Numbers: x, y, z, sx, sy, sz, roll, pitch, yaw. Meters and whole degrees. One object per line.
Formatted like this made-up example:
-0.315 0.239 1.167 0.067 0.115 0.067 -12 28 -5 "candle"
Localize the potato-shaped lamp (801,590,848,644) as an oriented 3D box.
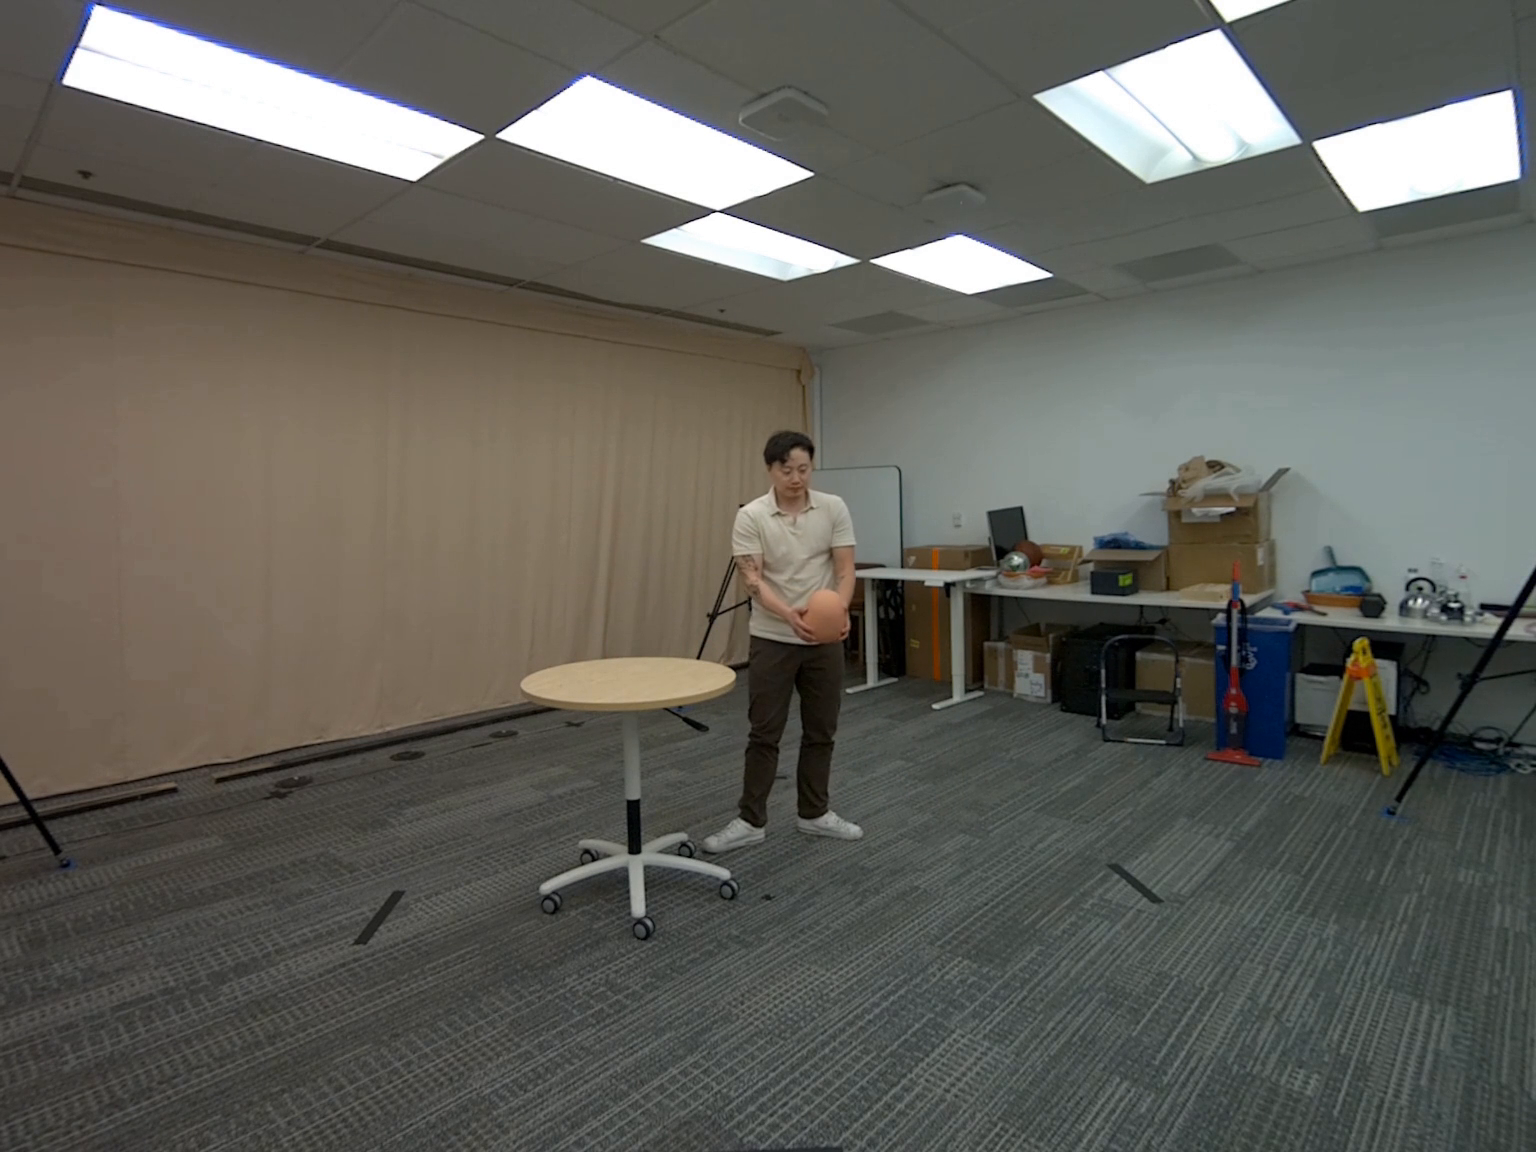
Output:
0.202 0.146 3.132 0.167 0.196 0.170 14 26 13 "potato-shaped lamp"
